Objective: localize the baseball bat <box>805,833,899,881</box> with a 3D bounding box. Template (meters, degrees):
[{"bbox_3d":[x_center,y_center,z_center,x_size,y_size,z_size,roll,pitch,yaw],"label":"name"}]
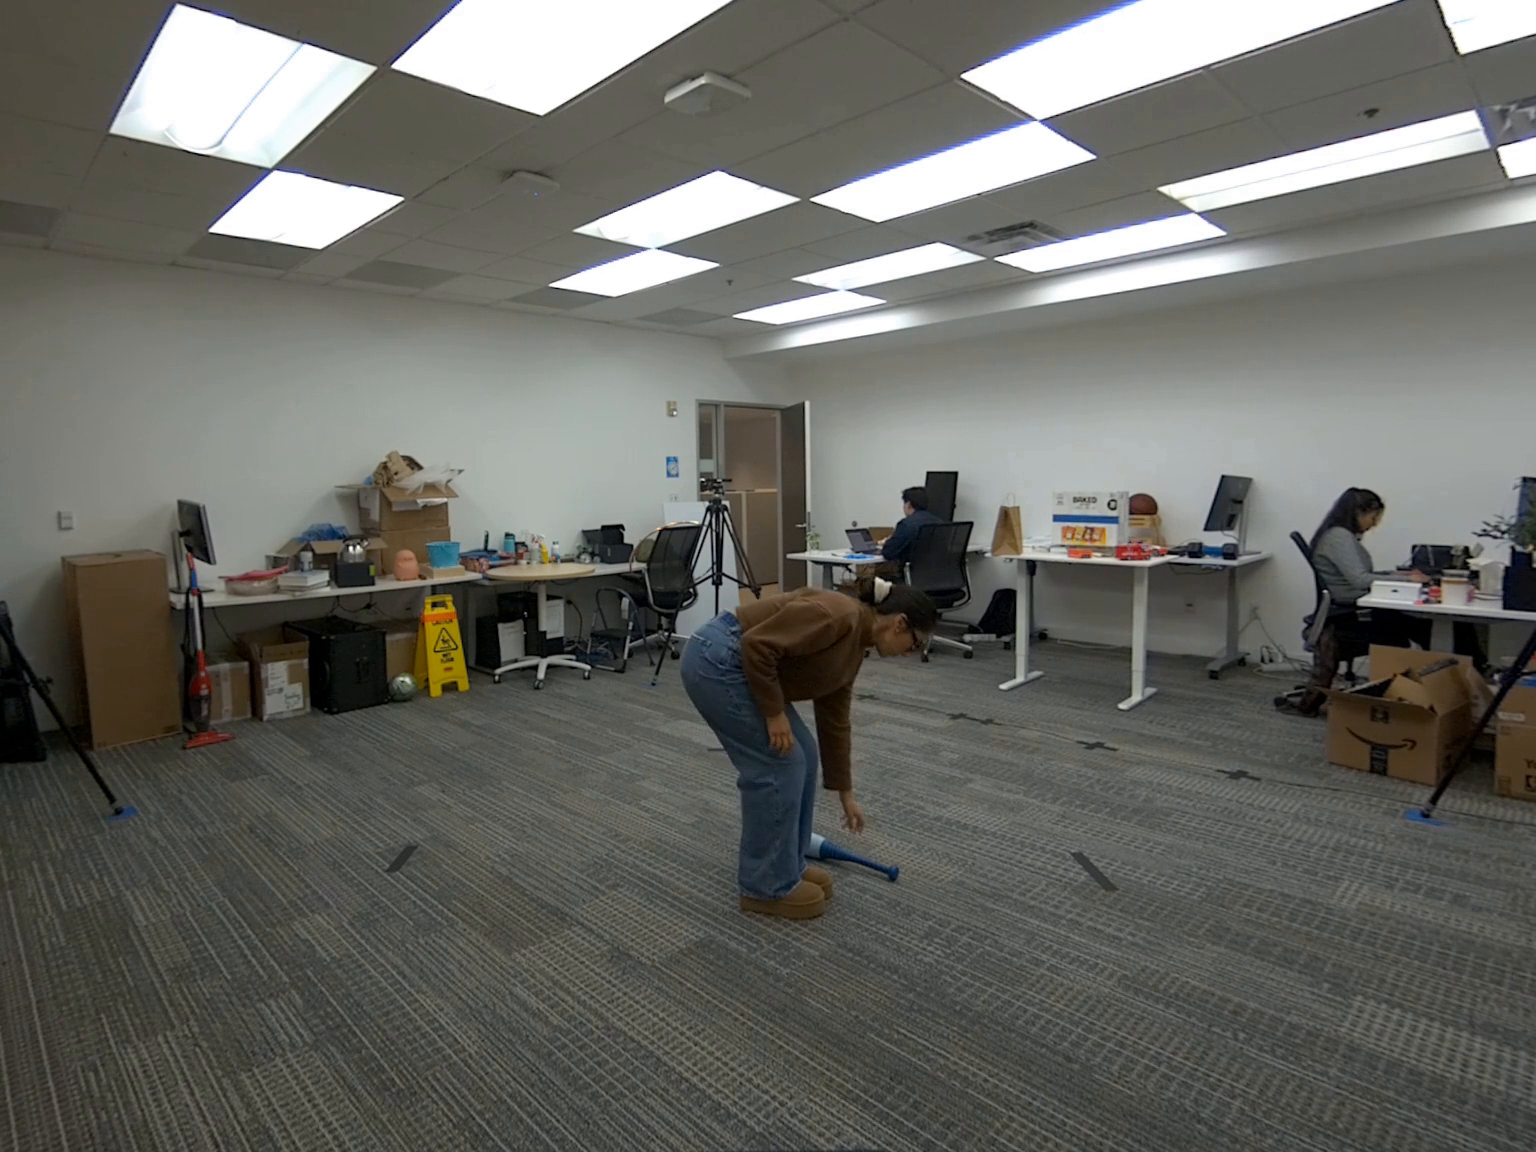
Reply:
[{"bbox_3d":[0.226,1.003,3.114,0.560,0.088,0.087,8,9,35],"label":"baseball bat"}]
